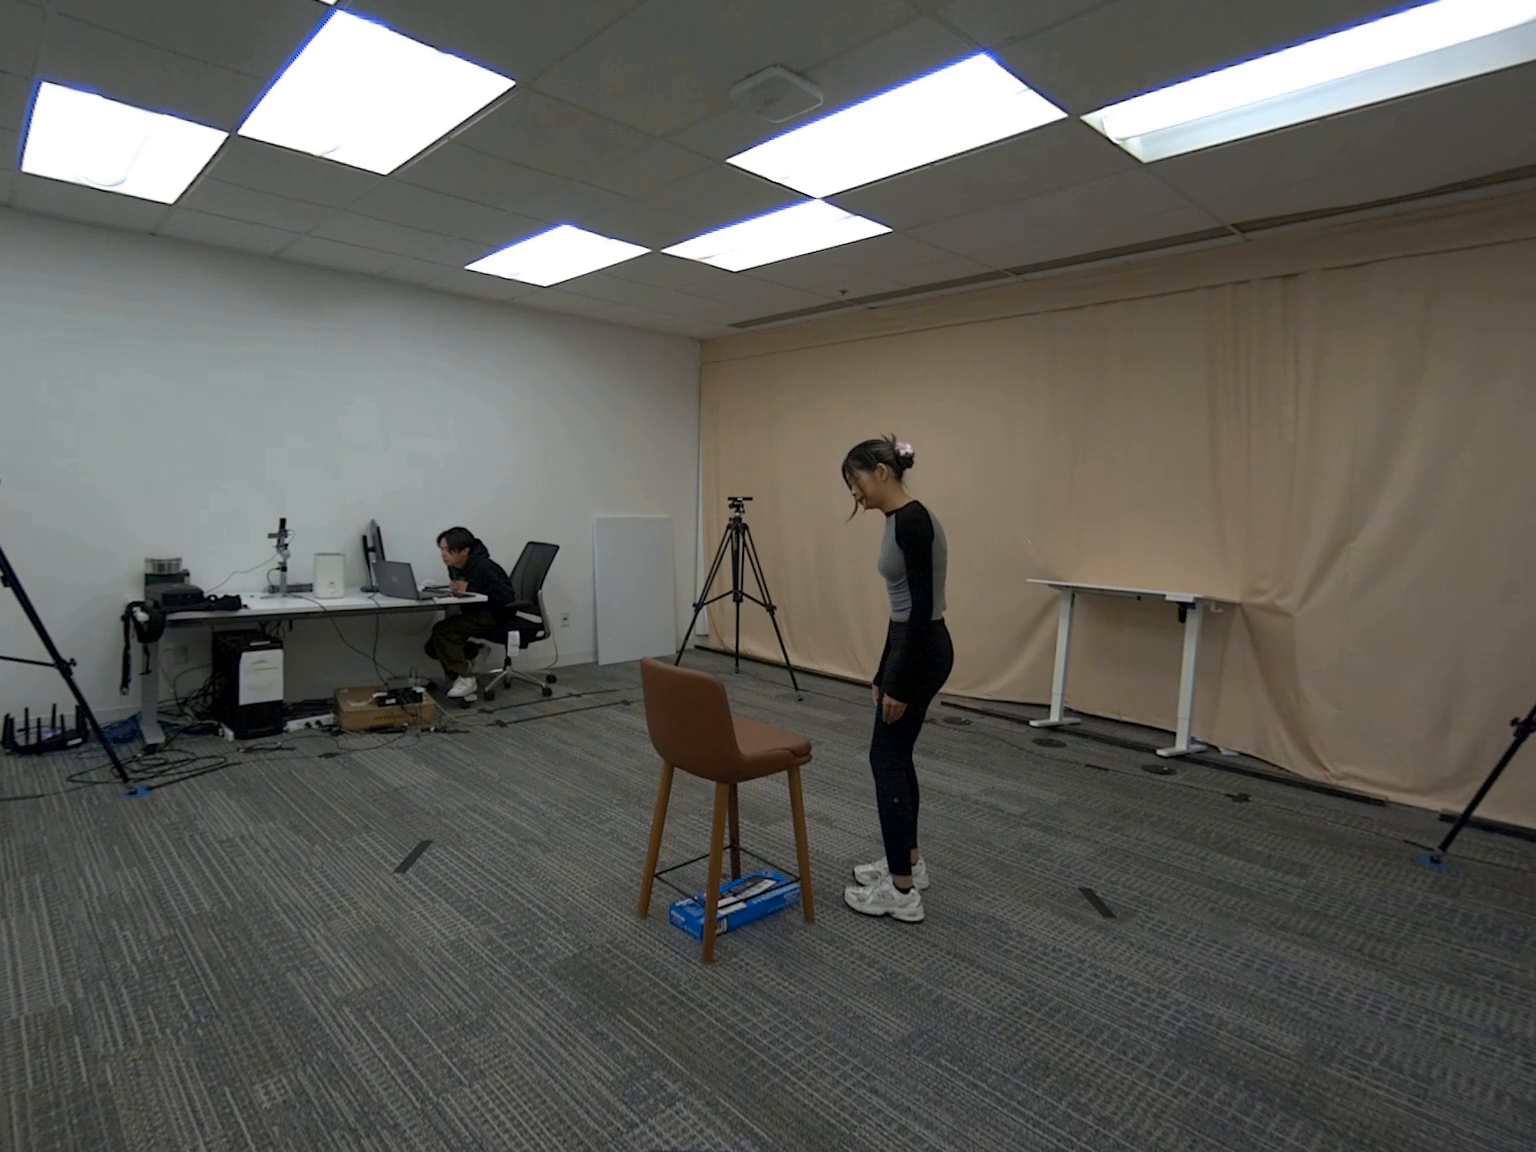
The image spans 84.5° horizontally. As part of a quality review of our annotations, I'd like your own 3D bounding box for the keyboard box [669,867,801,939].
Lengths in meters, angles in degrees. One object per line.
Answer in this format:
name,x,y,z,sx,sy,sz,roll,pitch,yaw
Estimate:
keyboard box,-0.110,1.106,2.829,0.427,0.059,0.180,-4,8,-41
